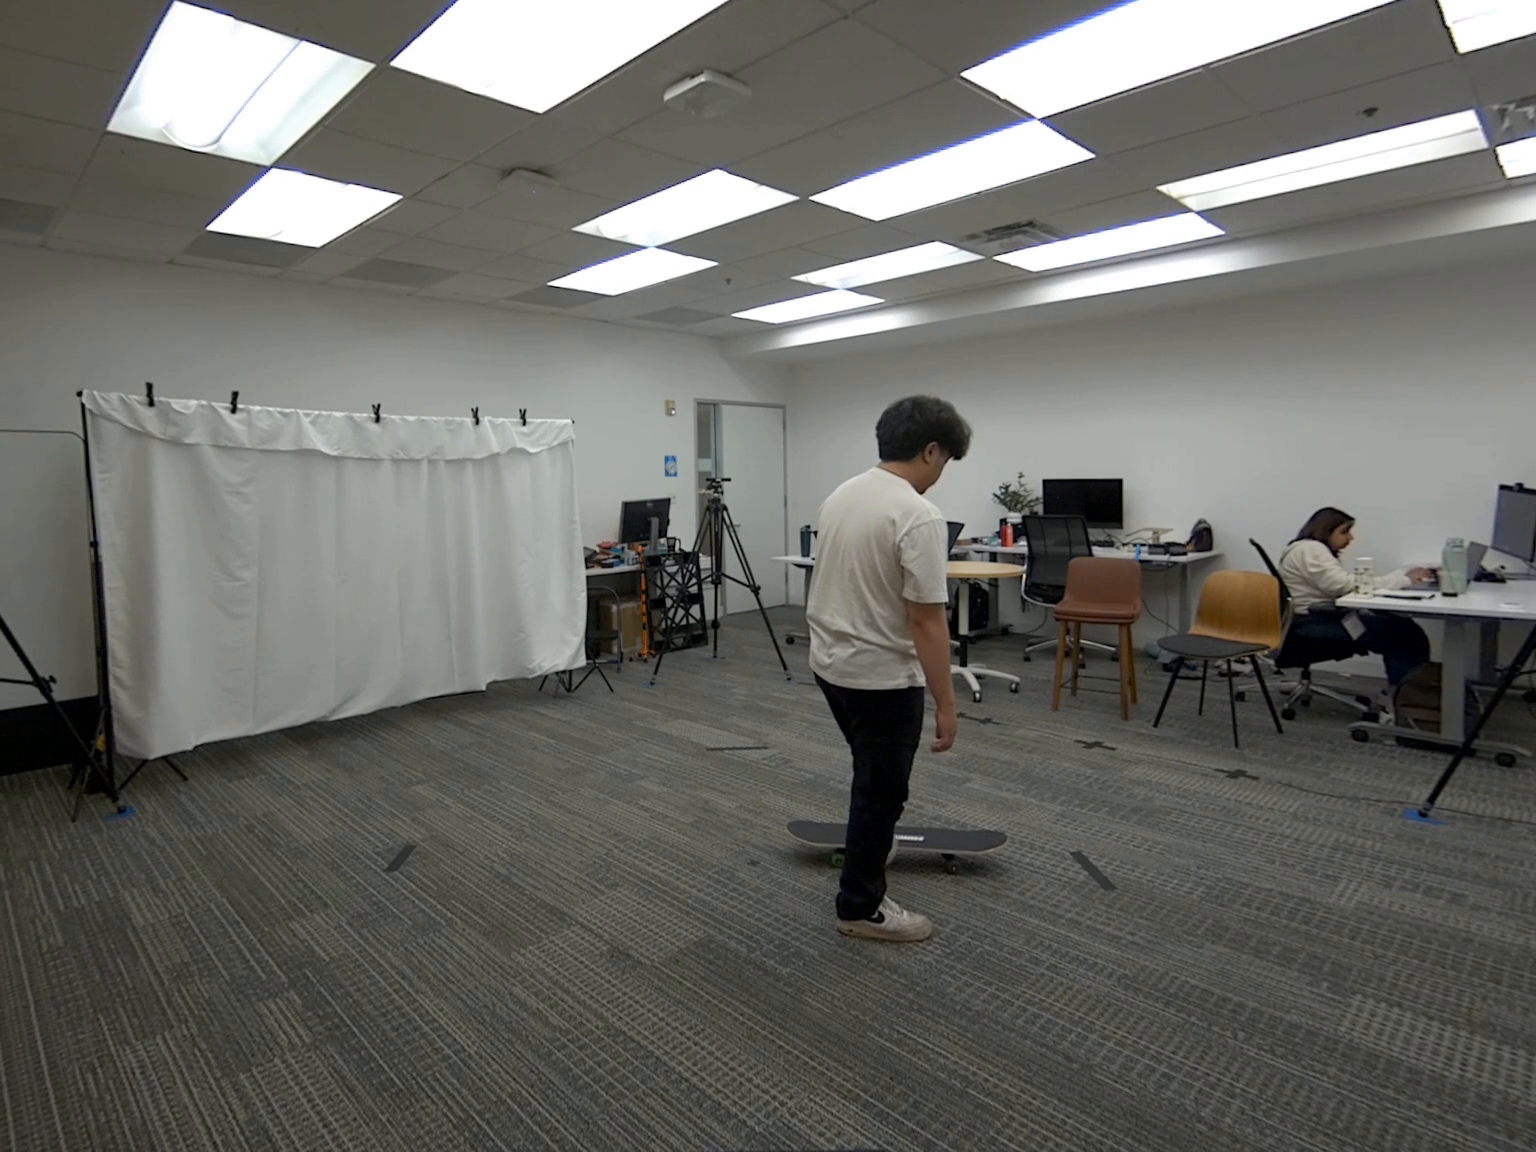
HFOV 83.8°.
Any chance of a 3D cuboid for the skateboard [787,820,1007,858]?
[{"bbox_3d":[0.458,0.976,3.100,0.793,0.110,0.192,0,5,10],"label":"skateboard"}]
